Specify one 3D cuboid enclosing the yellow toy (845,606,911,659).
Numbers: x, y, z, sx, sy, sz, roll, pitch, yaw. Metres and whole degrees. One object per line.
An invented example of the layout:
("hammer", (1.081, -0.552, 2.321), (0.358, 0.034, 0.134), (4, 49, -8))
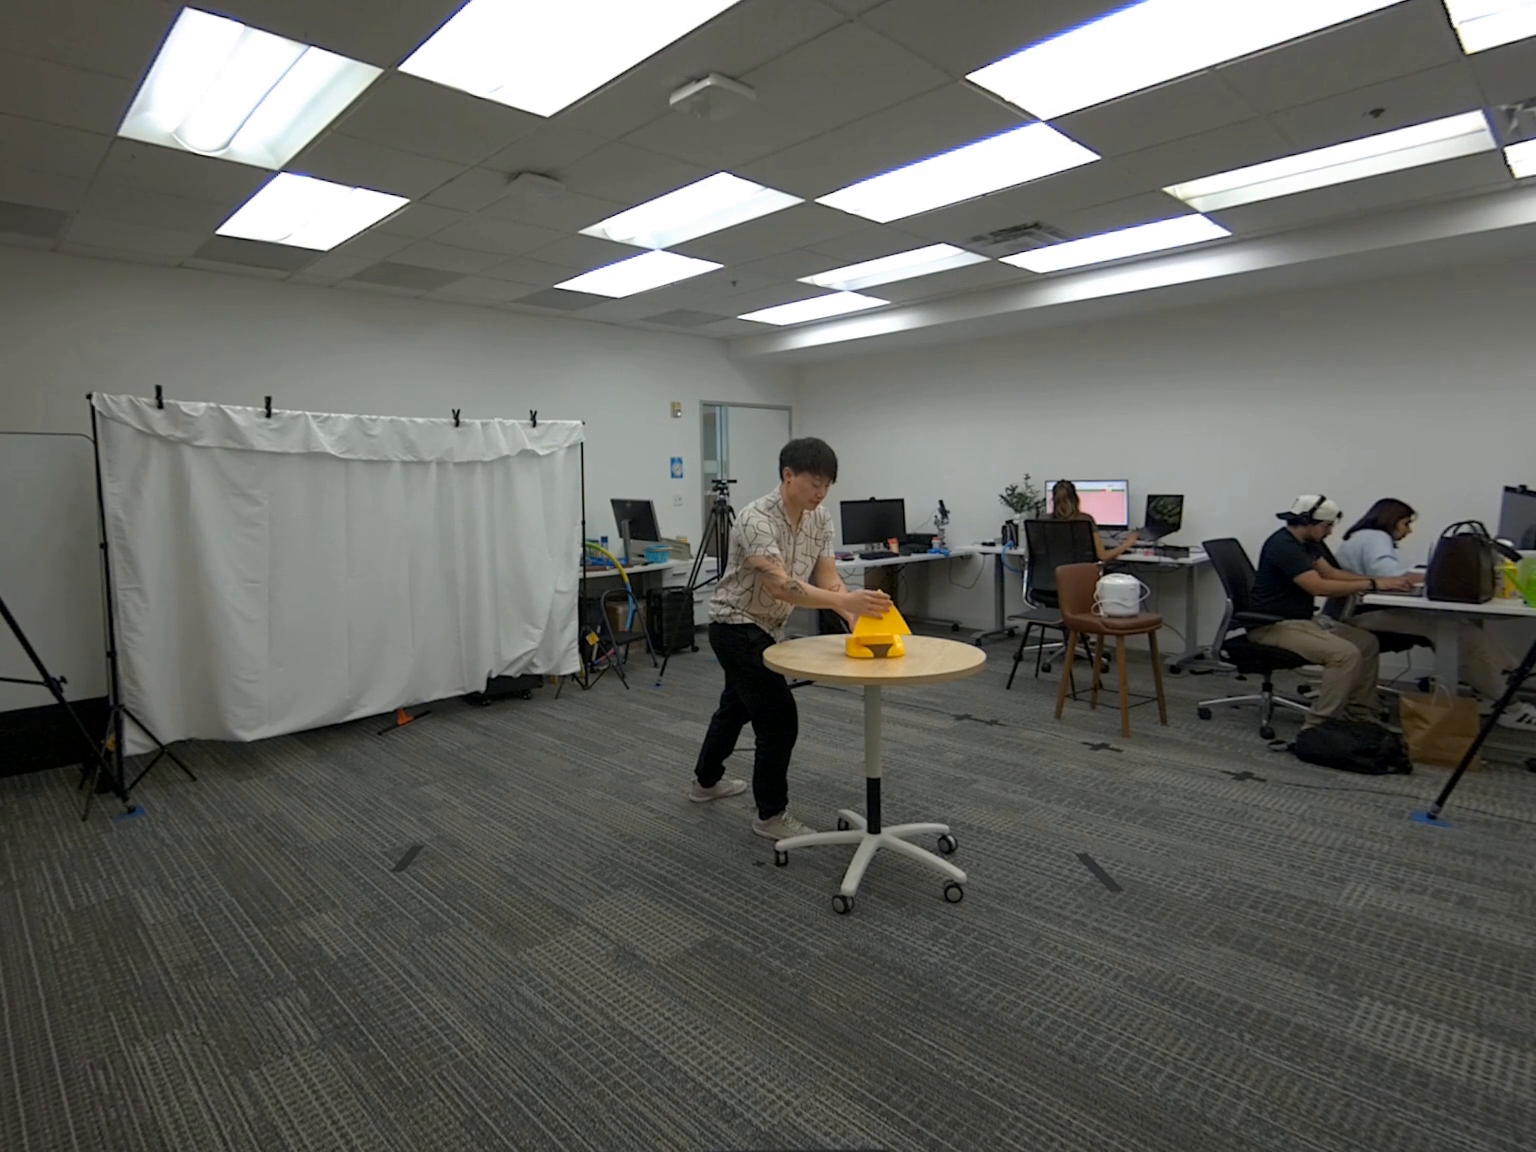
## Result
("yellow toy", (0.374, 0.153, 2.956), (0.203, 0.229, 0.195), (-2, 7, -7))
